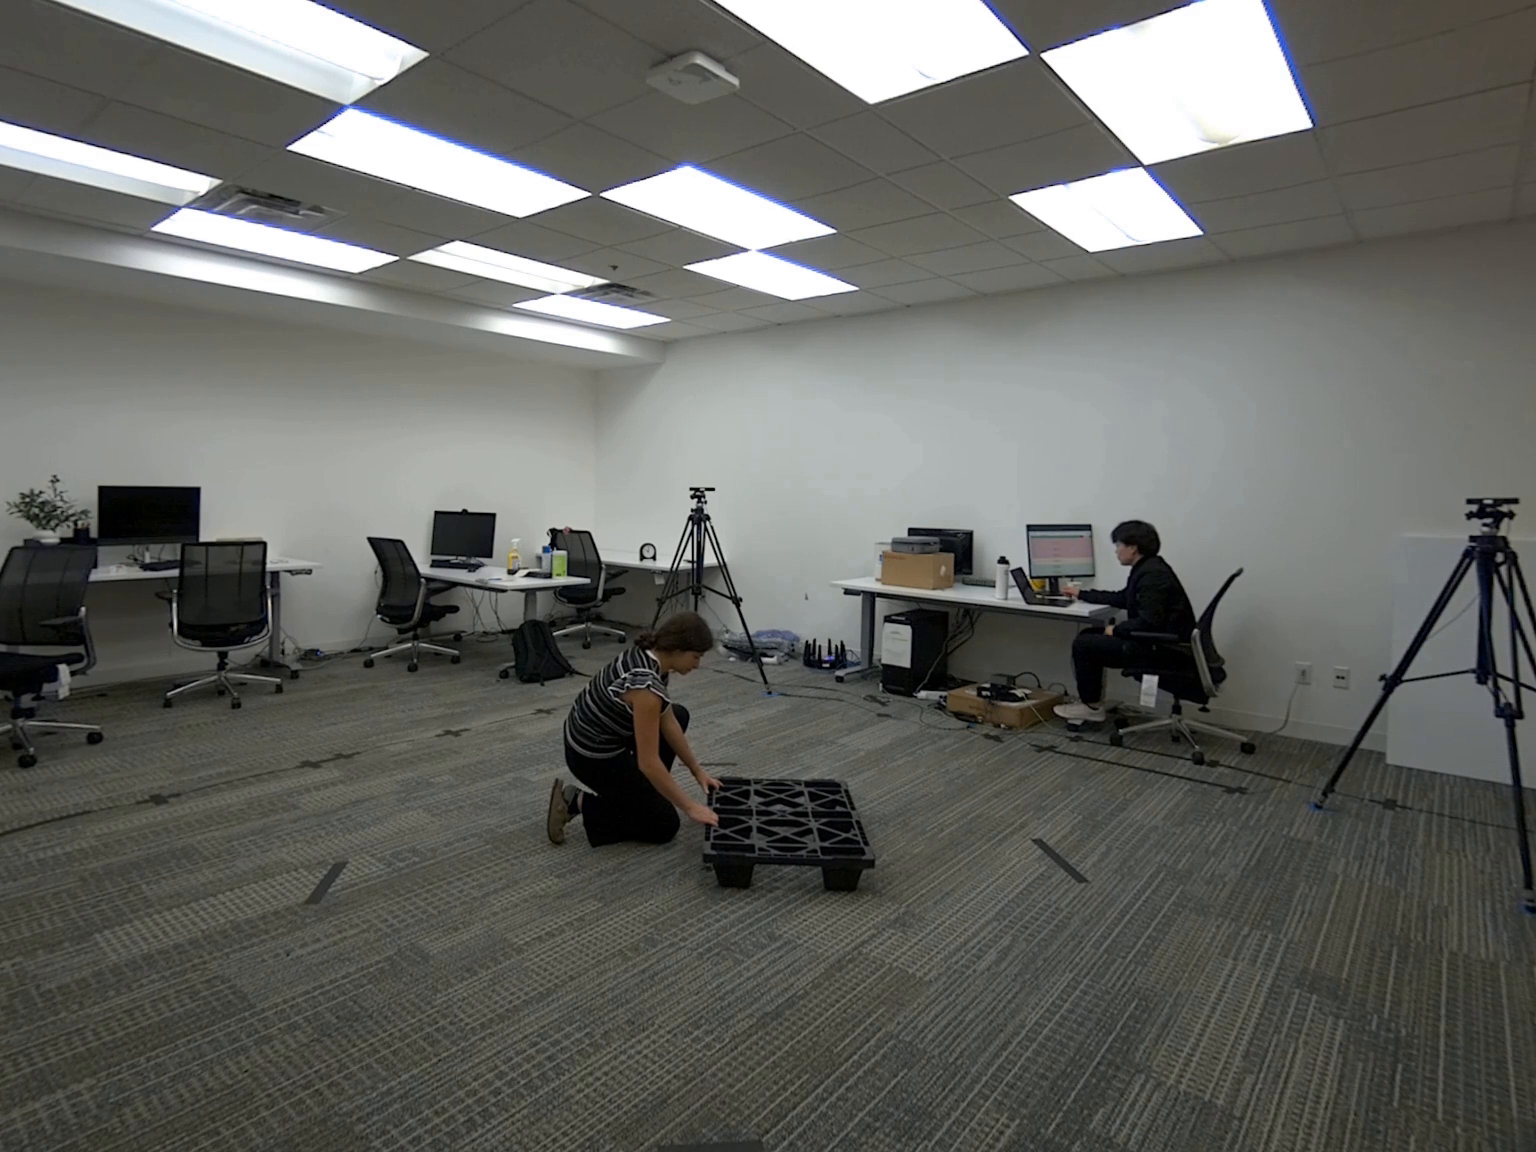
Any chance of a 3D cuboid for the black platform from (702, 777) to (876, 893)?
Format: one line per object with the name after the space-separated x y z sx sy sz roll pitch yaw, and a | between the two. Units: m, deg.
0.043 0.984 3.310 0.605 0.143 0.809 1 5 -1 | black platform
